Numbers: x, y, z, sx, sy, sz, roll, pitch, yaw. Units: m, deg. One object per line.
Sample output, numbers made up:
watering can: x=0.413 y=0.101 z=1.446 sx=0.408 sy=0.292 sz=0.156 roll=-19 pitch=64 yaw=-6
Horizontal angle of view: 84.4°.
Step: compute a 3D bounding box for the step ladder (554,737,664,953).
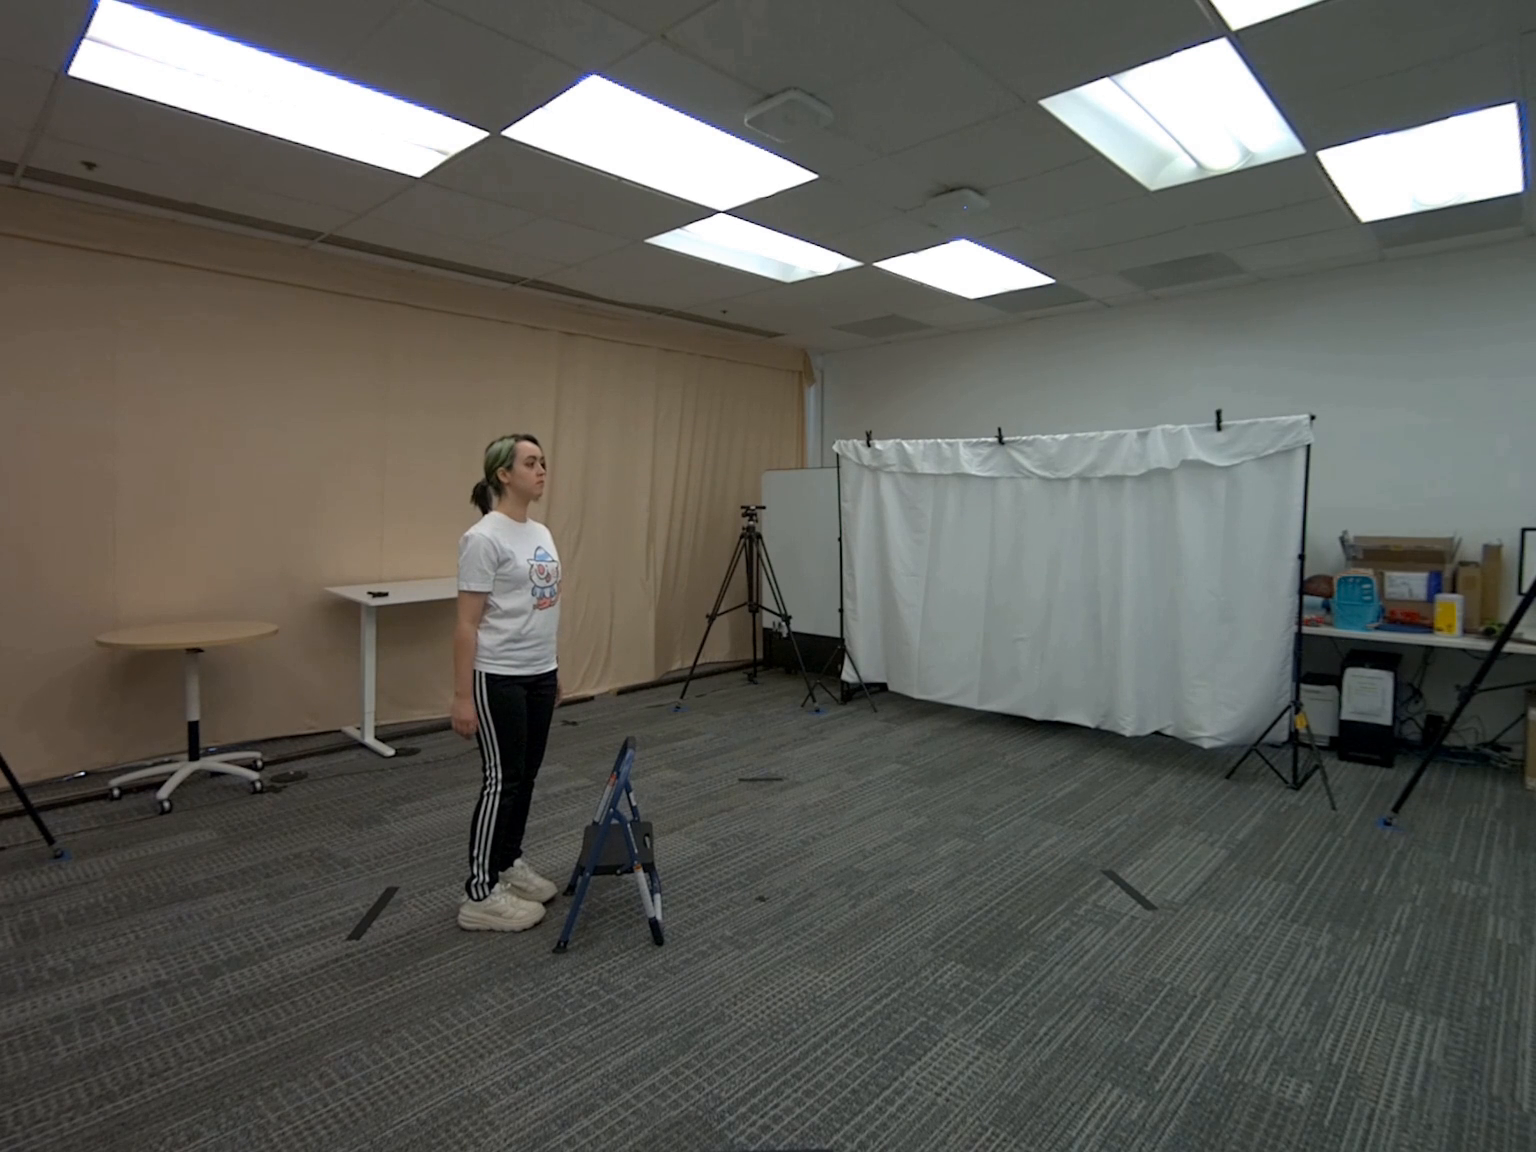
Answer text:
step ladder: x=-0.530 y=0.865 z=2.832 sx=0.347 sy=0.605 sz=0.434 roll=0 pitch=2 yaw=-7
